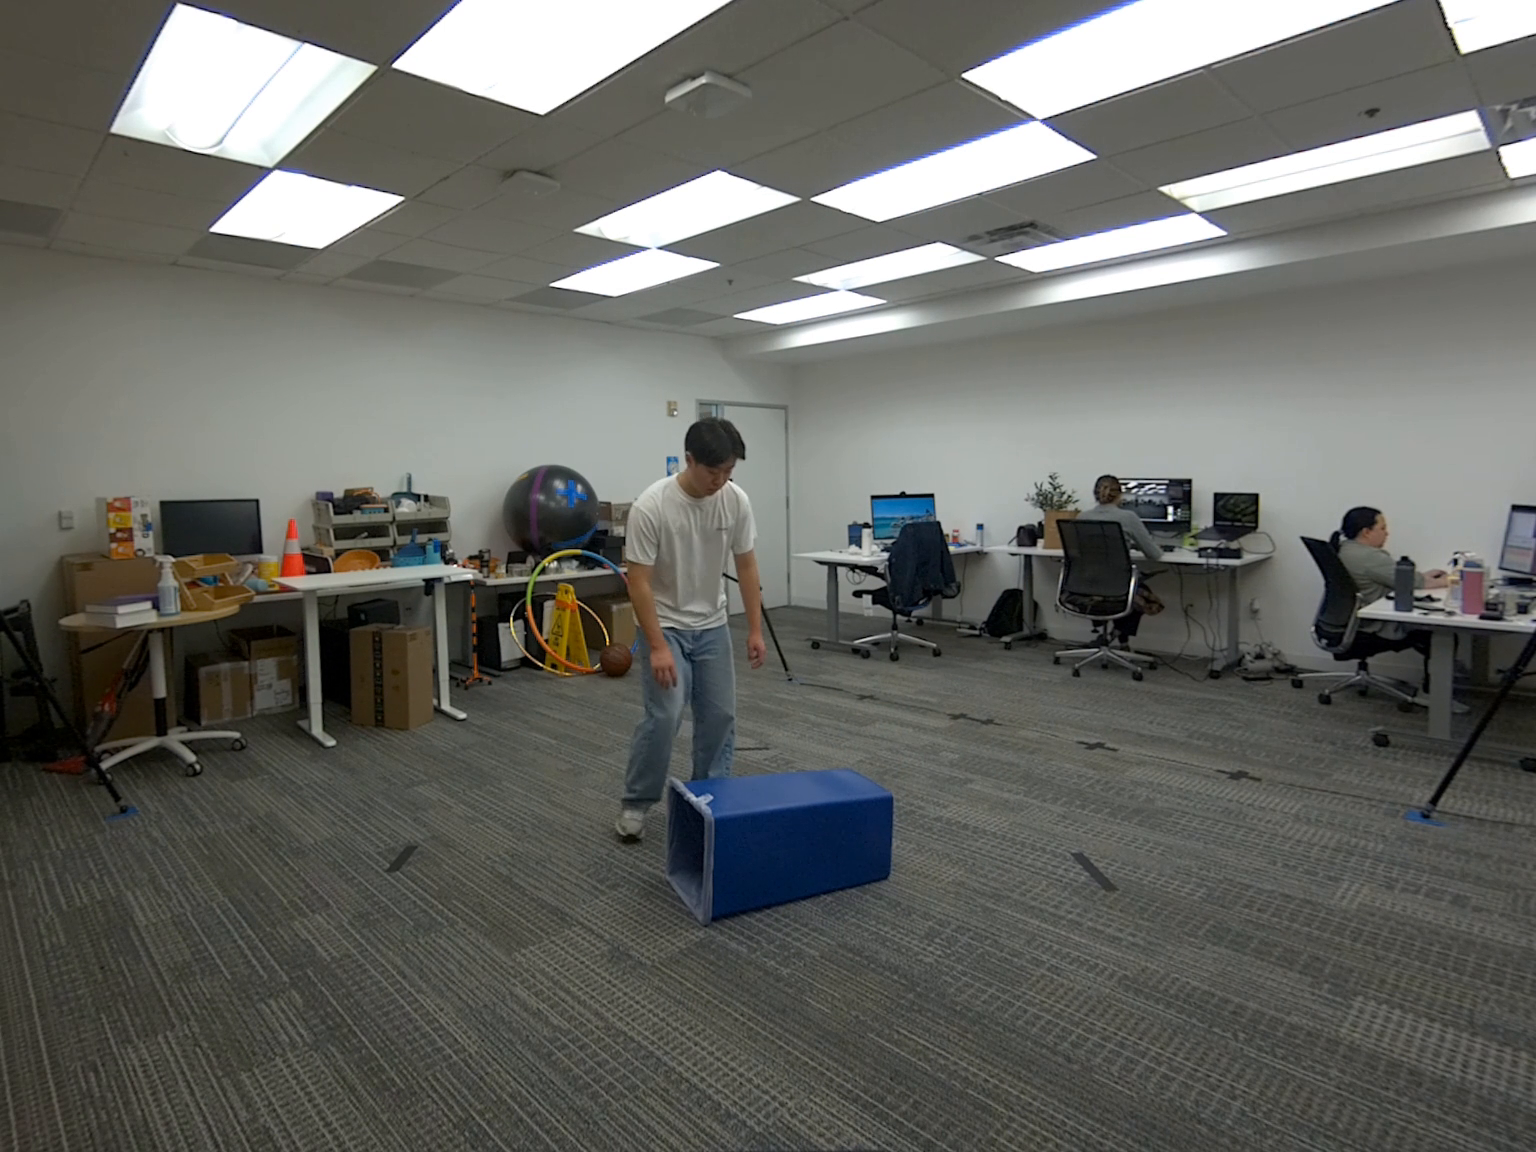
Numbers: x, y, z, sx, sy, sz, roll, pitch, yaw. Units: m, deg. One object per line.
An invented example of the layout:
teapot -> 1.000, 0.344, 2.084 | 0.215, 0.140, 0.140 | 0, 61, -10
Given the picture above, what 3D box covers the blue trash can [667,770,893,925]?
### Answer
blue trash can -> 0.045, 0.897, 2.960 | 0.698, 0.377, 0.383 | -1, 4, -25
